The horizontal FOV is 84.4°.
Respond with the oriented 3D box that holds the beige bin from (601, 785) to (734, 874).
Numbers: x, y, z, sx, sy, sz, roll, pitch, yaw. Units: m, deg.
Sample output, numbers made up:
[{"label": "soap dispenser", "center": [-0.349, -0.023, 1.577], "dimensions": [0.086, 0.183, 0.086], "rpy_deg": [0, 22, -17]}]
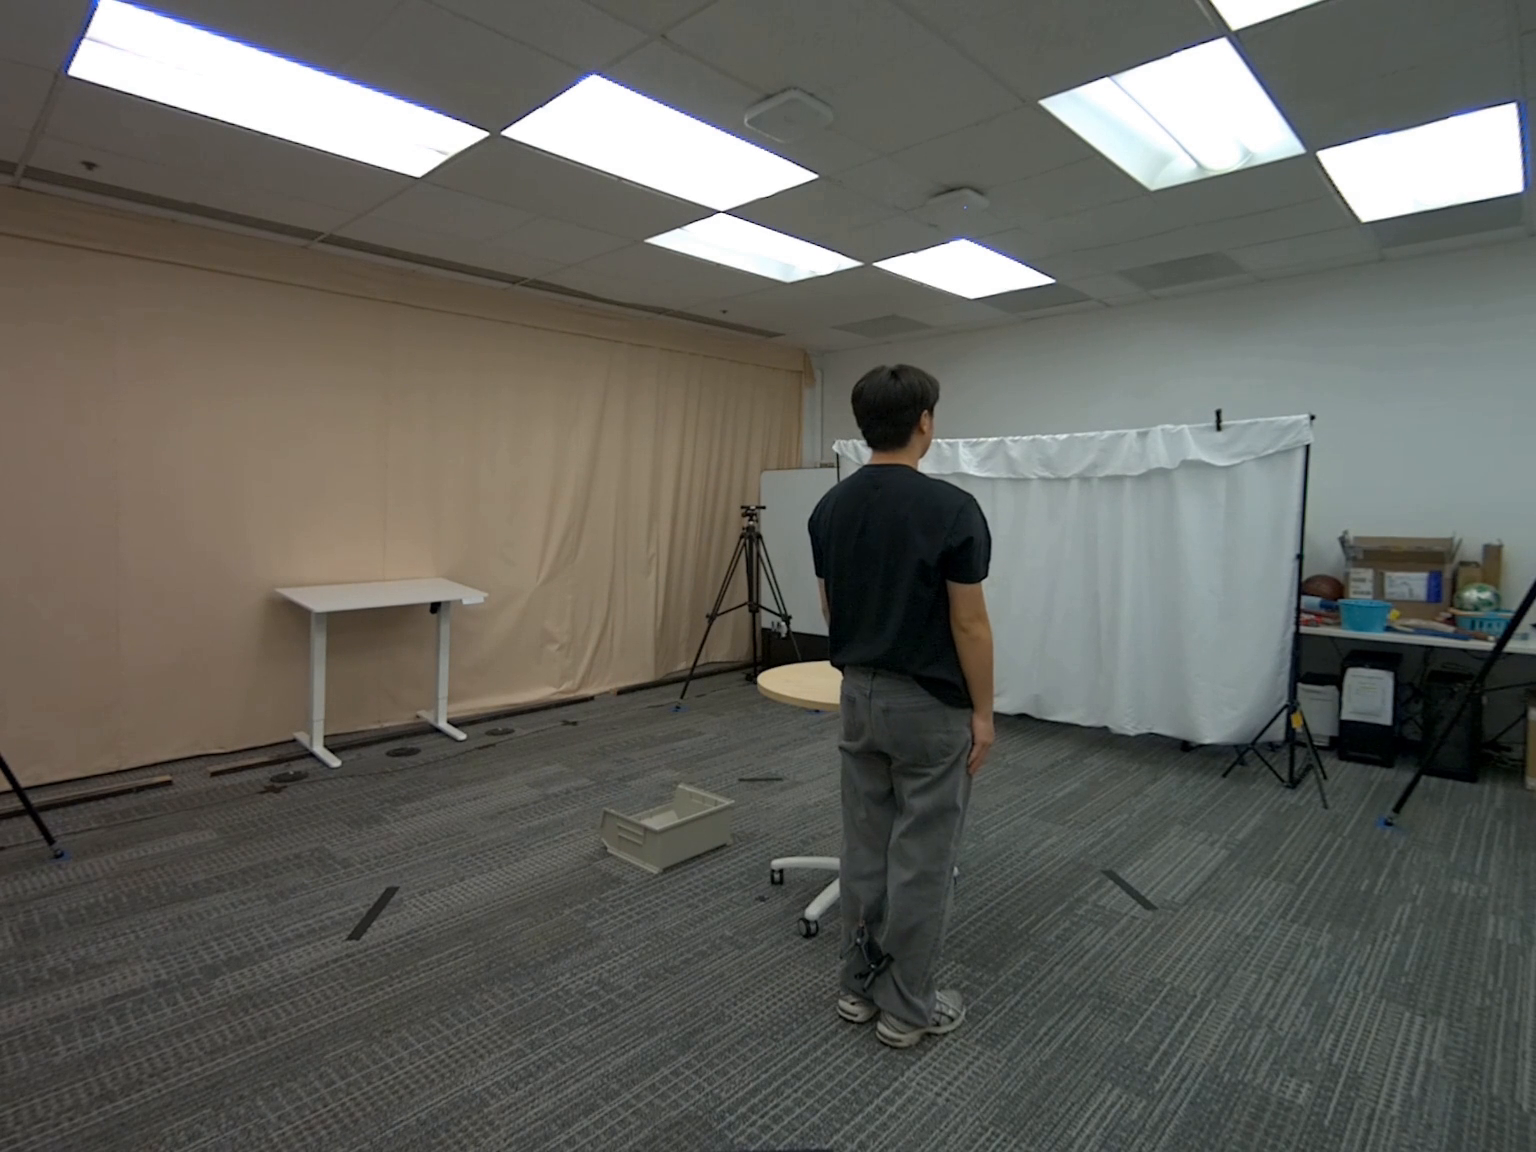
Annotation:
[{"label": "beige bin", "center": [-0.415, 1.020, 3.450], "dimensions": [0.390, 0.188, 0.409], "rpy_deg": [5, 7, 44]}]
